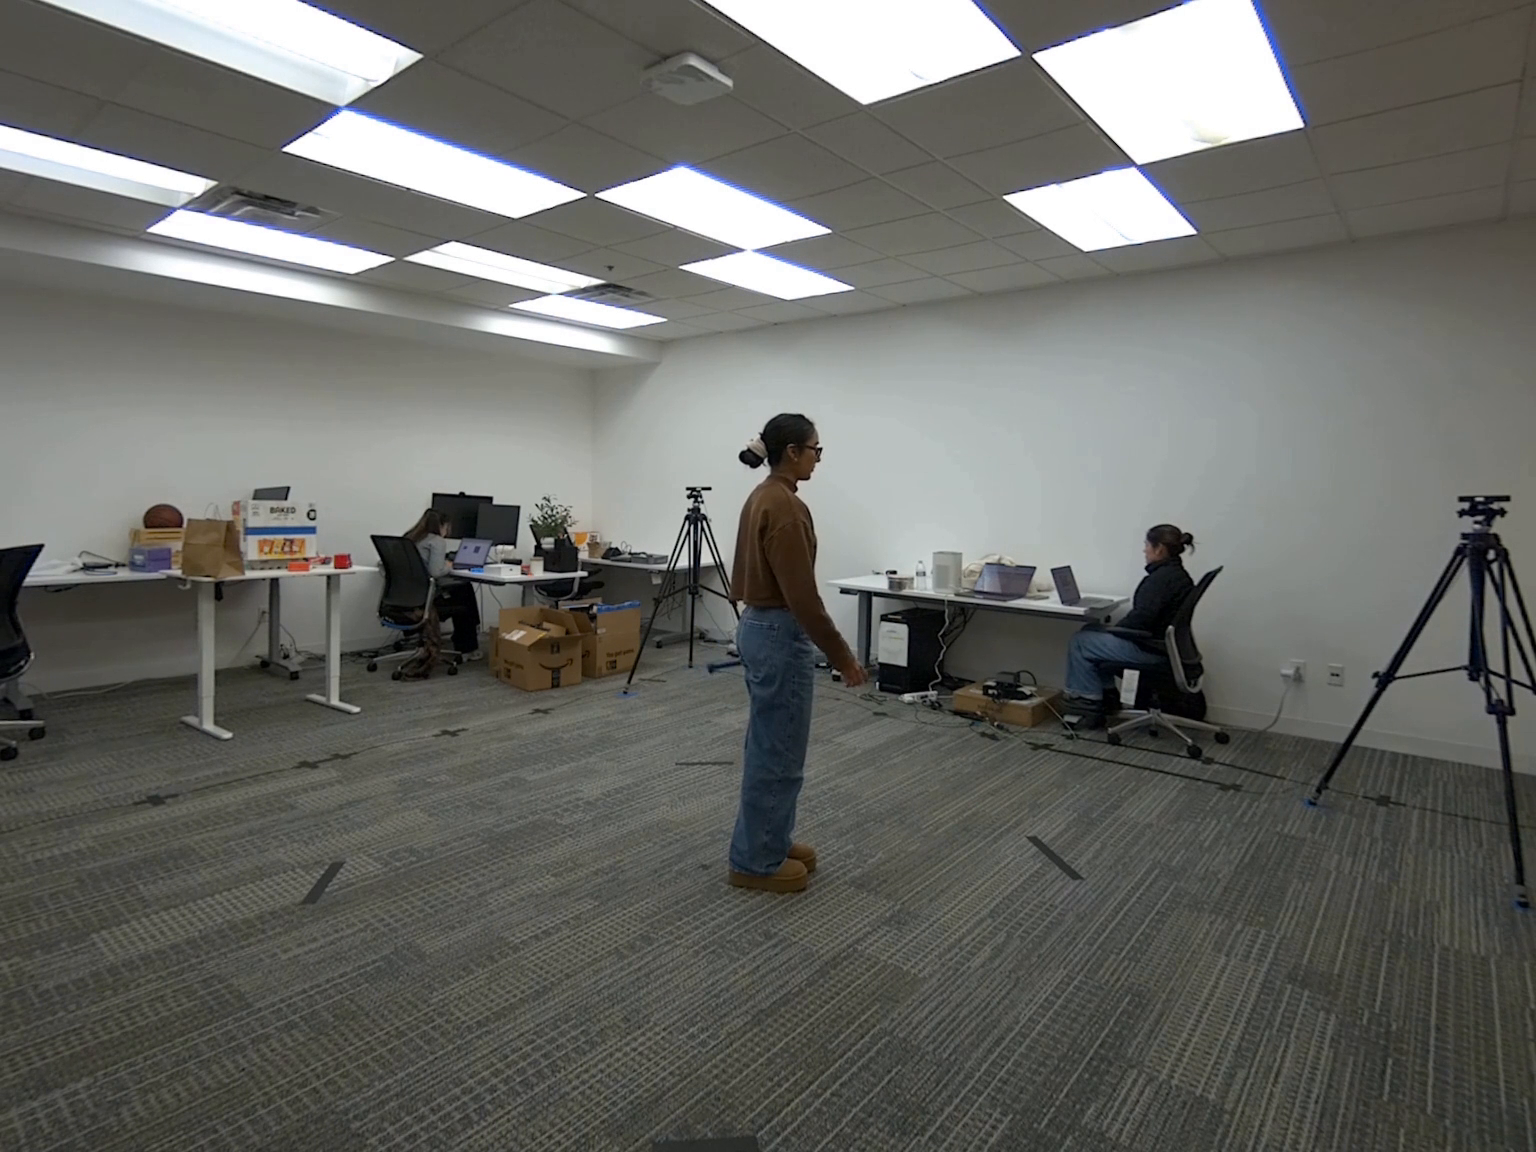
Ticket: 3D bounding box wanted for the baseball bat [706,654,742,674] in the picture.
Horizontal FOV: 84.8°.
[{"bbox_3d":[0.021,0.301,3.302,0.541,0.089,0.090,-6,5,-3],"label":"baseball bat"}]
